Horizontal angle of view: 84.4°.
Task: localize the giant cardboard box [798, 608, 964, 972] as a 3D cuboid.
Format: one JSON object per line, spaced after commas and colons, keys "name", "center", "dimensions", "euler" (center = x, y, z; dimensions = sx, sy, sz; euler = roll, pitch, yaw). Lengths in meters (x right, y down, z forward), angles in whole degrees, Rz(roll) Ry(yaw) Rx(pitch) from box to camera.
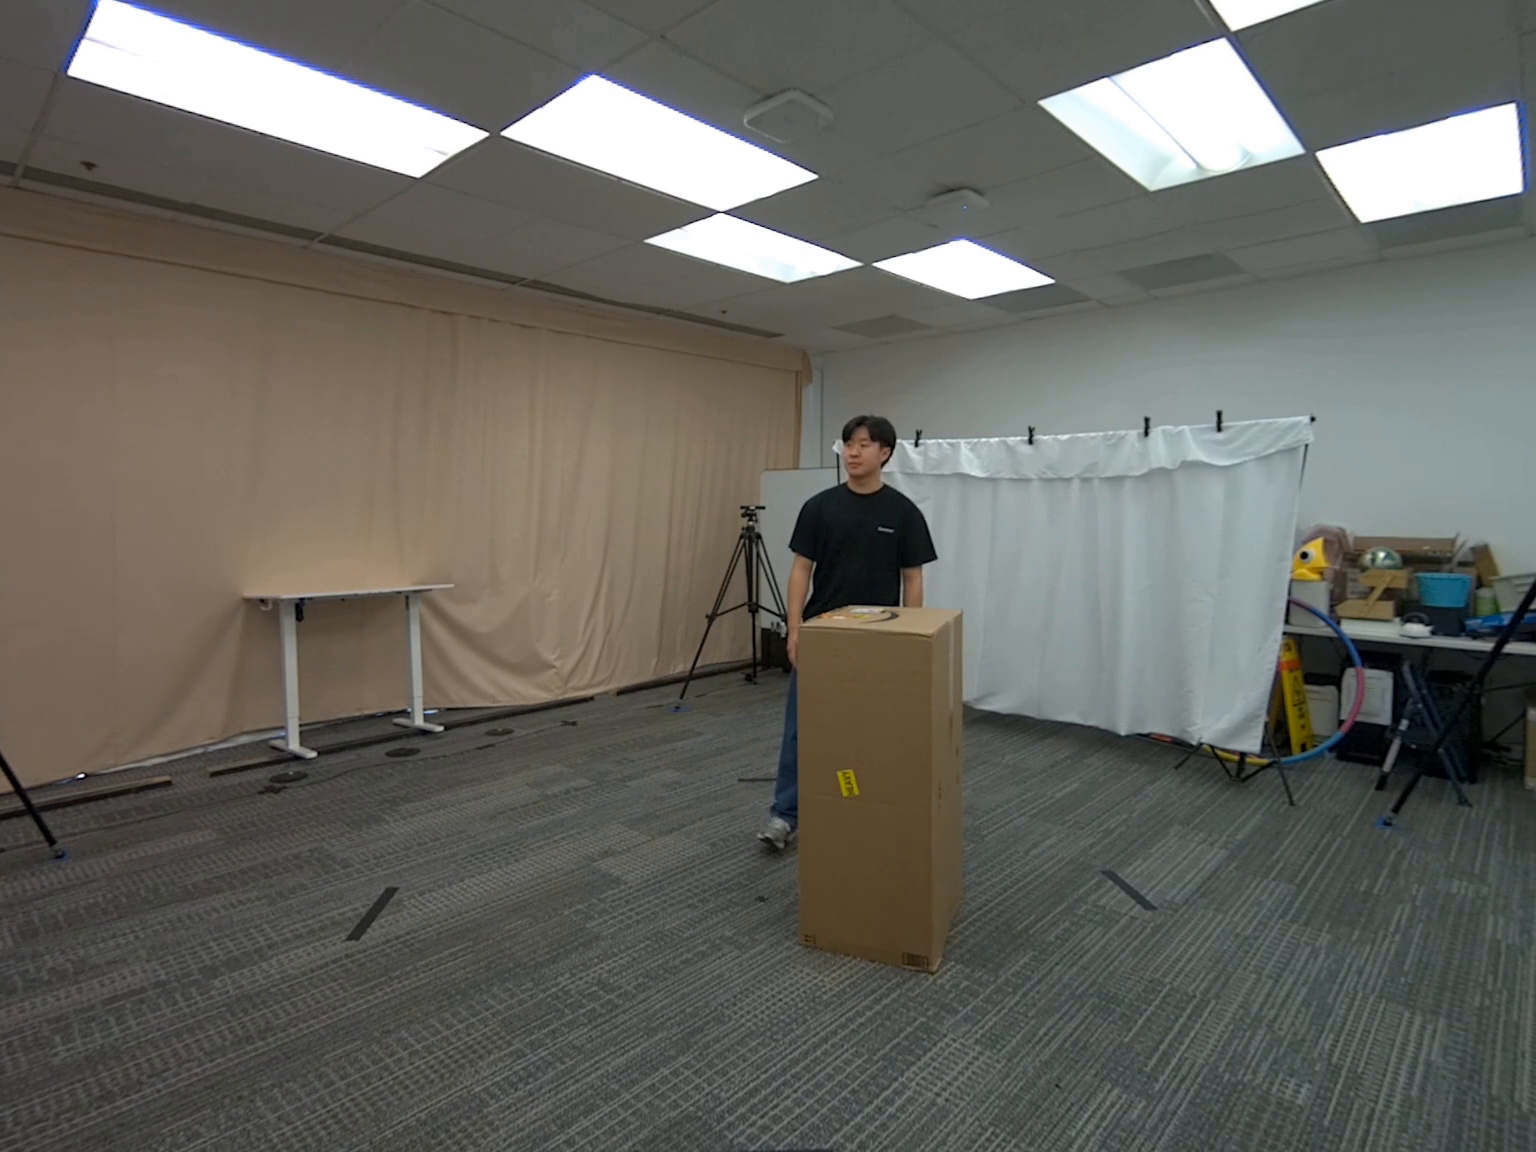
{"name": "giant cardboard box", "center": [0.389, 0.643, 2.817], "dimensions": [0.458, 1.025, 0.571], "euler": [0, 3, 24]}
